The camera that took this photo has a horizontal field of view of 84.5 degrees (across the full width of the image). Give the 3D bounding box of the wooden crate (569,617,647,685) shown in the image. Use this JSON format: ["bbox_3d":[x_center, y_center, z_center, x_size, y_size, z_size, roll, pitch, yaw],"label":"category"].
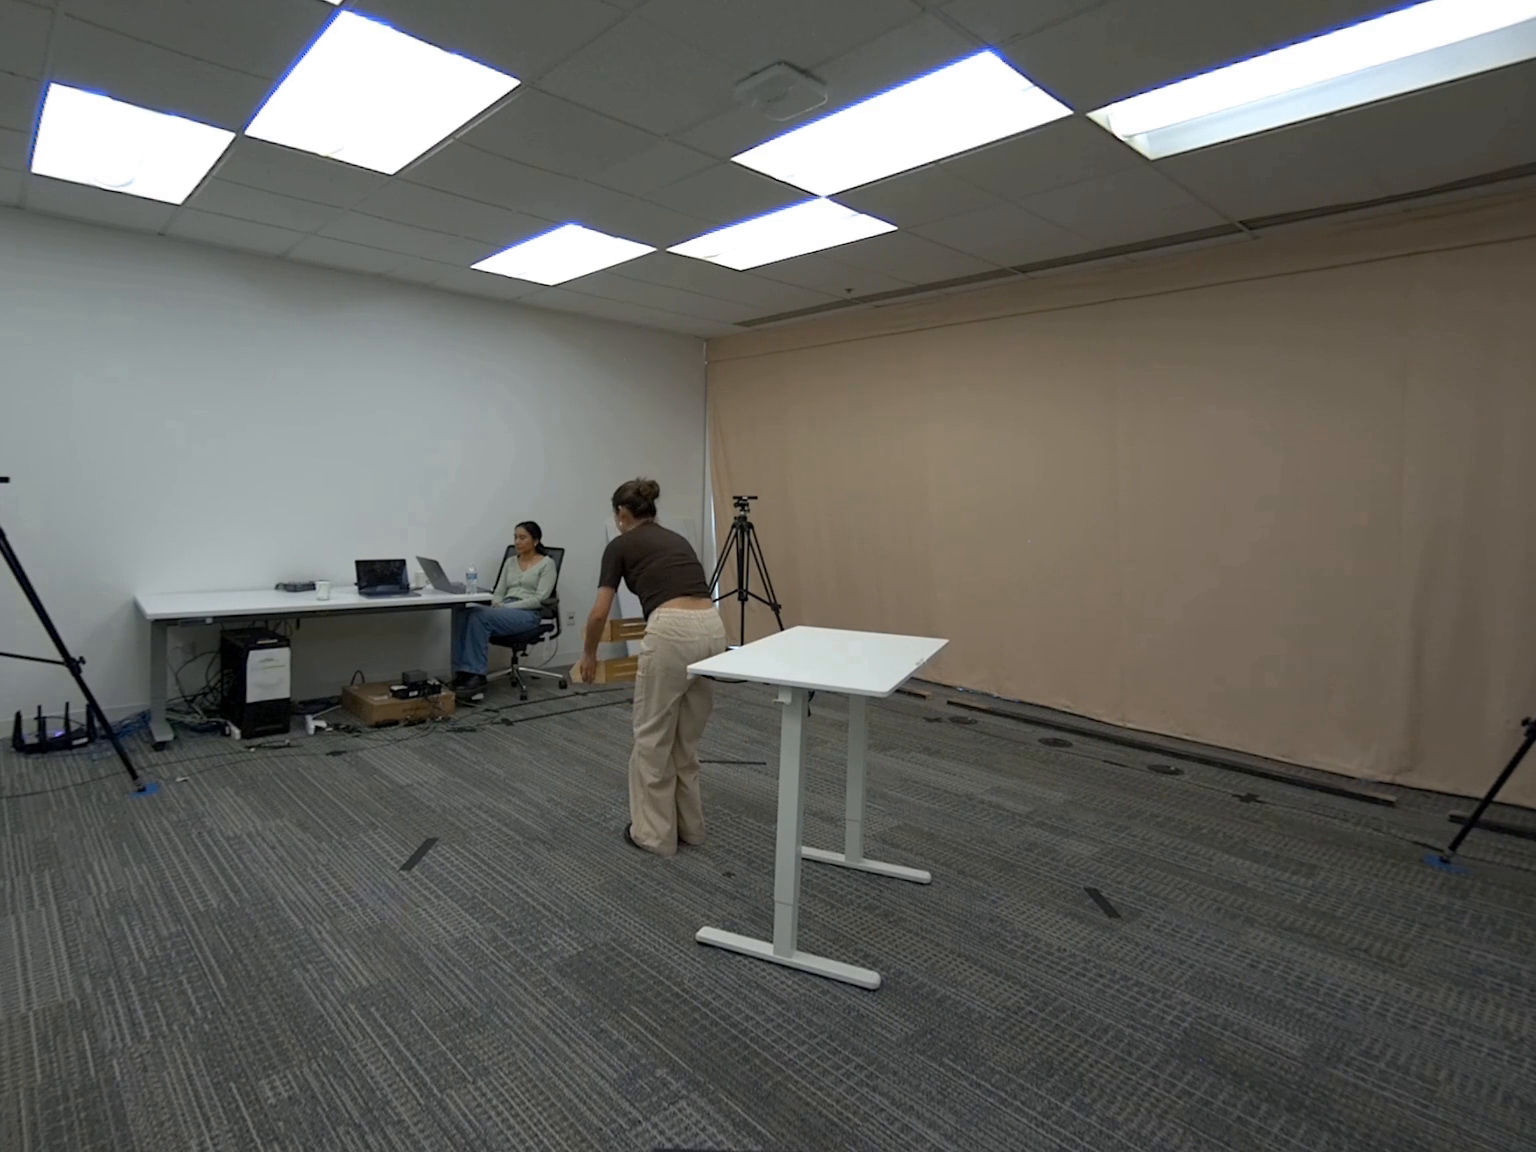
[{"bbox_3d":[-0.651,0.312,3.622,0.309,0.274,0.317,-3,-1,42],"label":"wooden crate"}]
